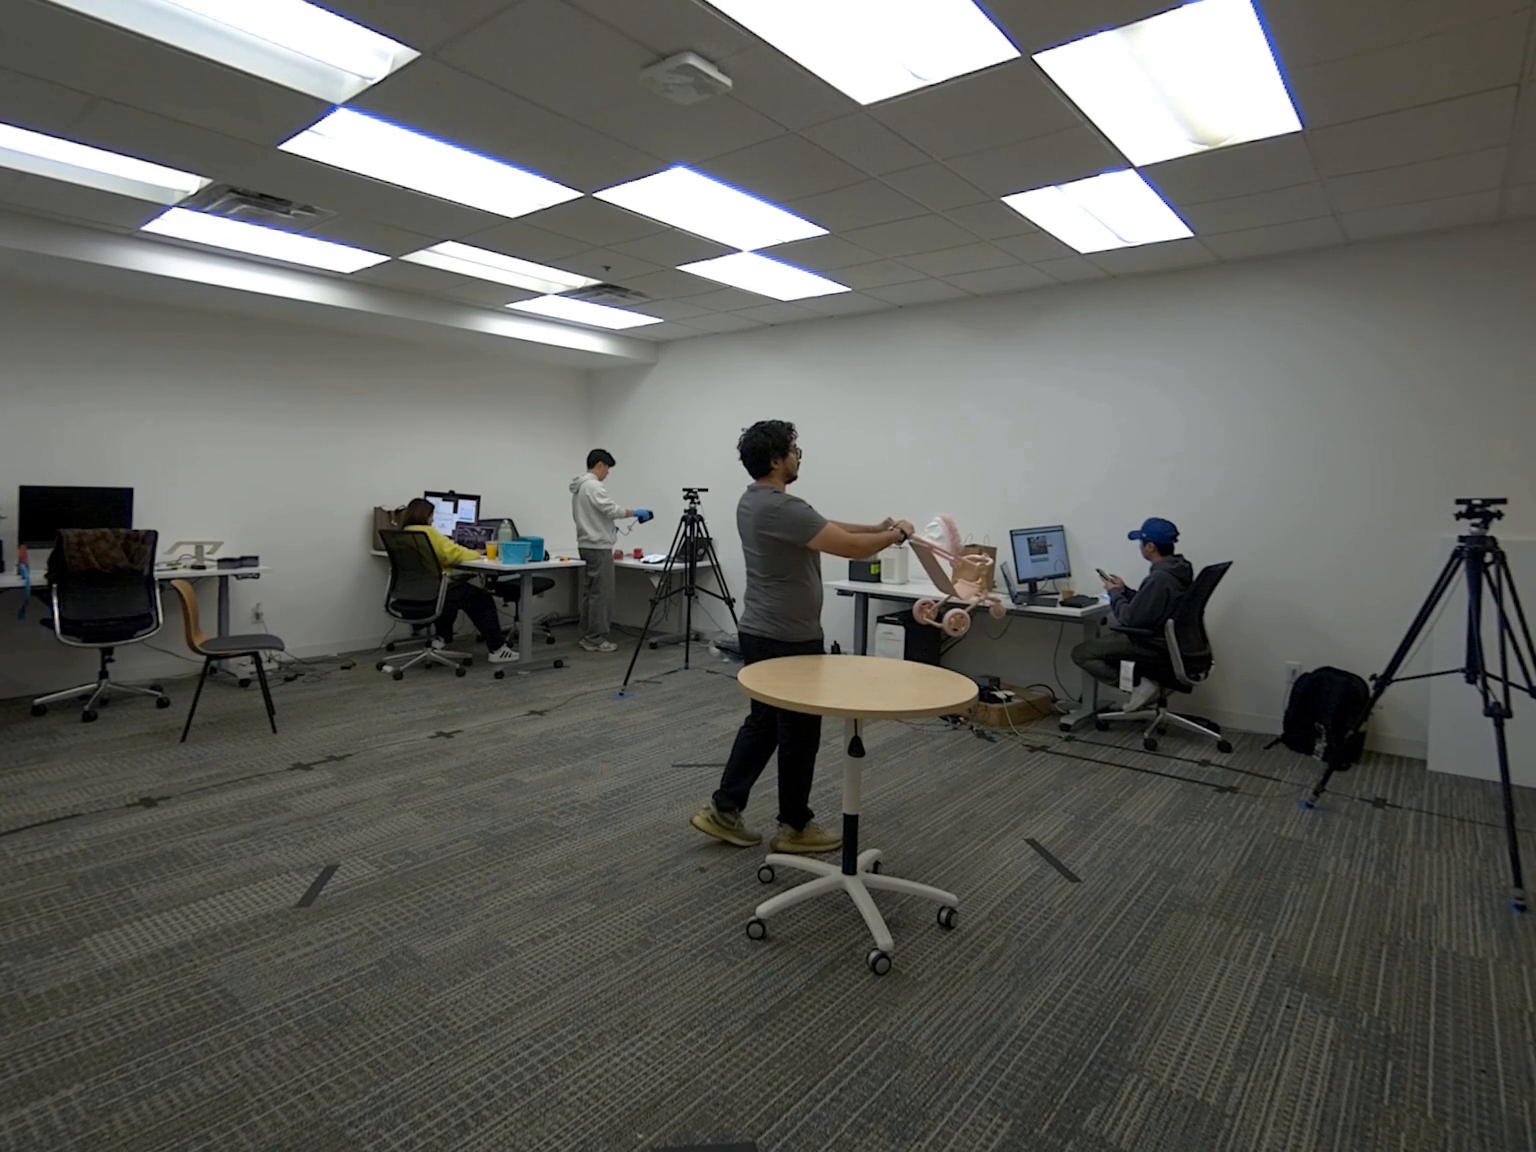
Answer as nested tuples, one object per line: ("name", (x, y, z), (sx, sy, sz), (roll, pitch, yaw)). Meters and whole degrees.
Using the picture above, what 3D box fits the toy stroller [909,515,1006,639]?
("toy stroller", (0.726, -0.017, 3.390), (0.339, 0.528, 0.287), (-22, 11, -9))
